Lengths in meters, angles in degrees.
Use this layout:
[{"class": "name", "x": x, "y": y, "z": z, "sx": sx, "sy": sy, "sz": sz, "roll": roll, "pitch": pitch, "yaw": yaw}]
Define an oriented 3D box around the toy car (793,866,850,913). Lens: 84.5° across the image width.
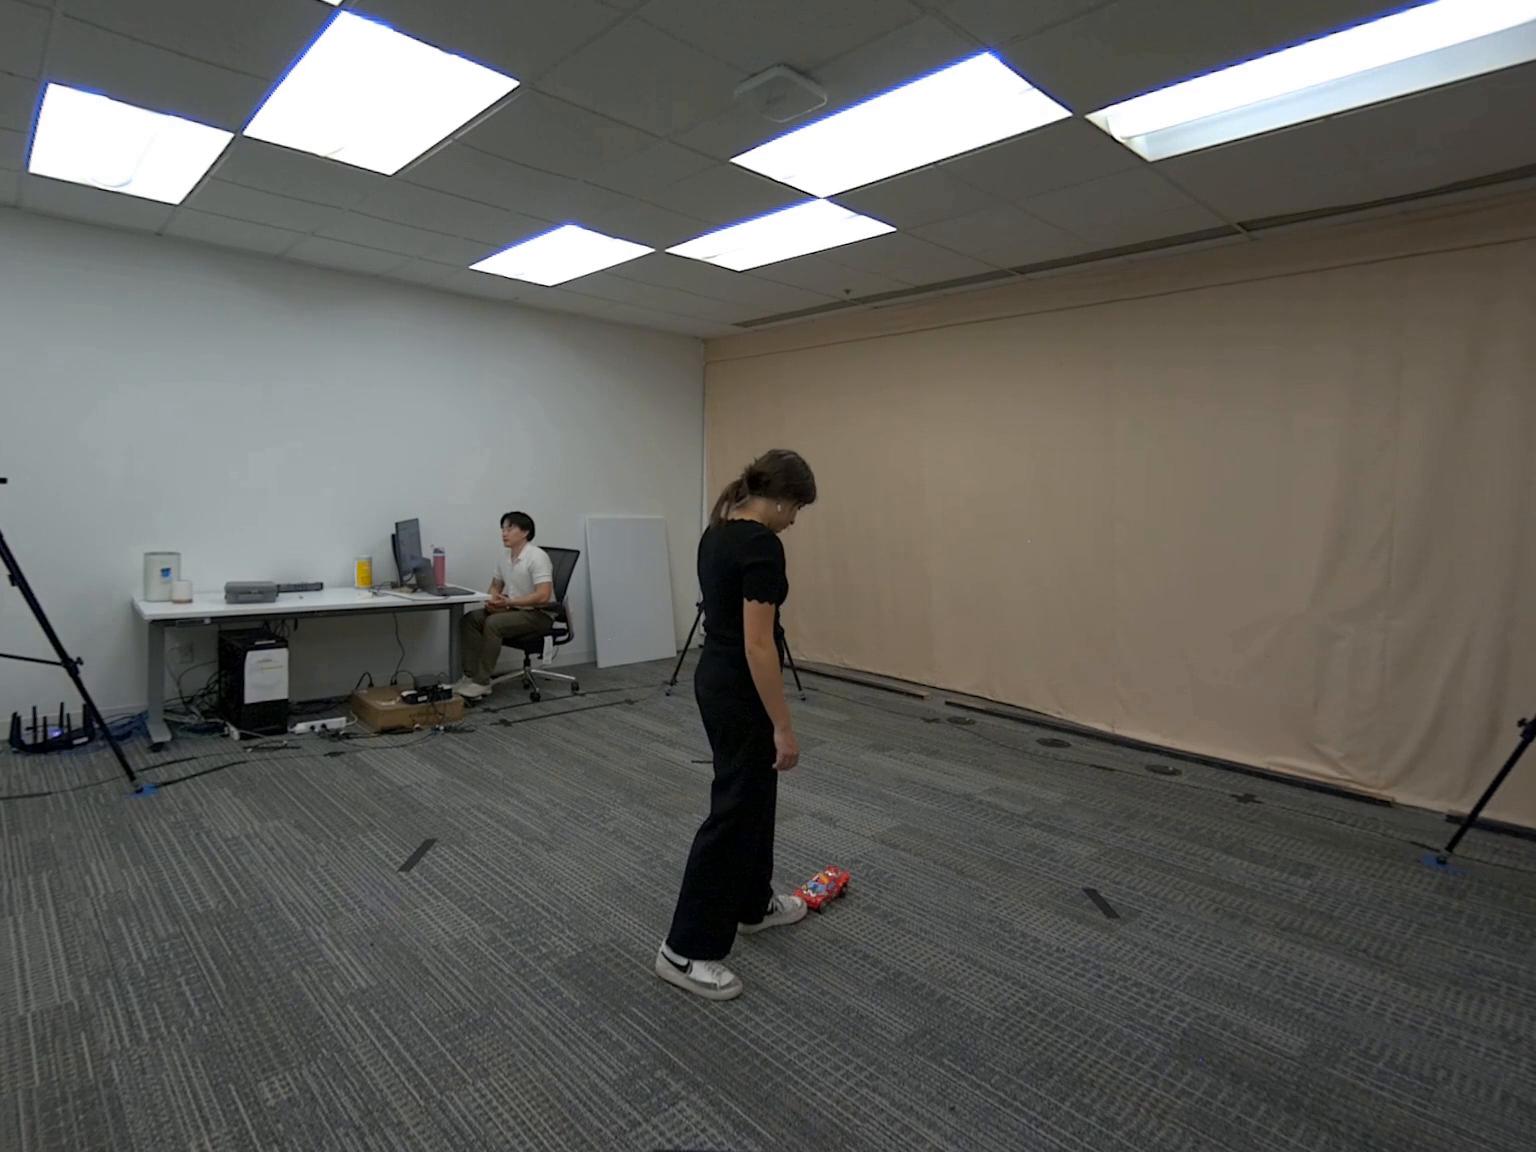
[{"class": "toy car", "x": 0.189, "y": 1.098, "z": 2.939, "sx": 0.133, "sy": 0.082, "sz": 0.251, "roll": 5, "pitch": 17, "yaw": 36}]
